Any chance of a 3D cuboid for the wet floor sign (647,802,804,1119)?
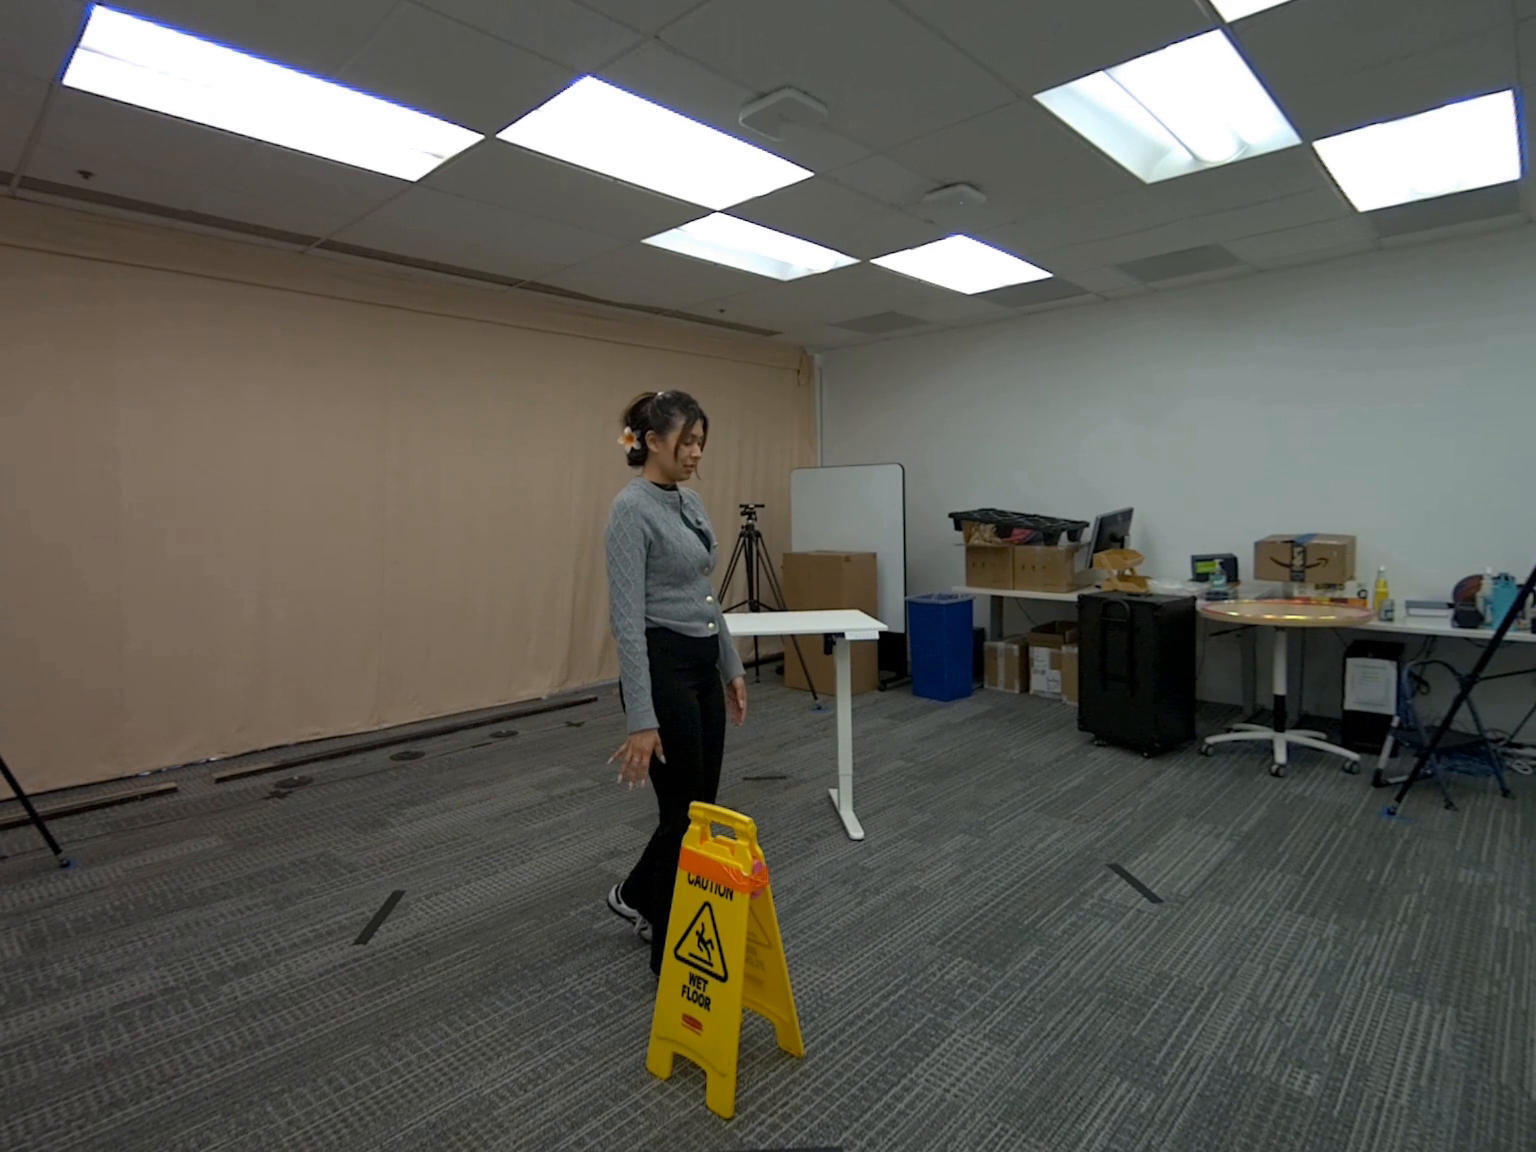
[{"bbox_3d":[-0.107,0.899,2.081,0.291,0.644,0.281,1,4,40],"label":"wet floor sign"}]
